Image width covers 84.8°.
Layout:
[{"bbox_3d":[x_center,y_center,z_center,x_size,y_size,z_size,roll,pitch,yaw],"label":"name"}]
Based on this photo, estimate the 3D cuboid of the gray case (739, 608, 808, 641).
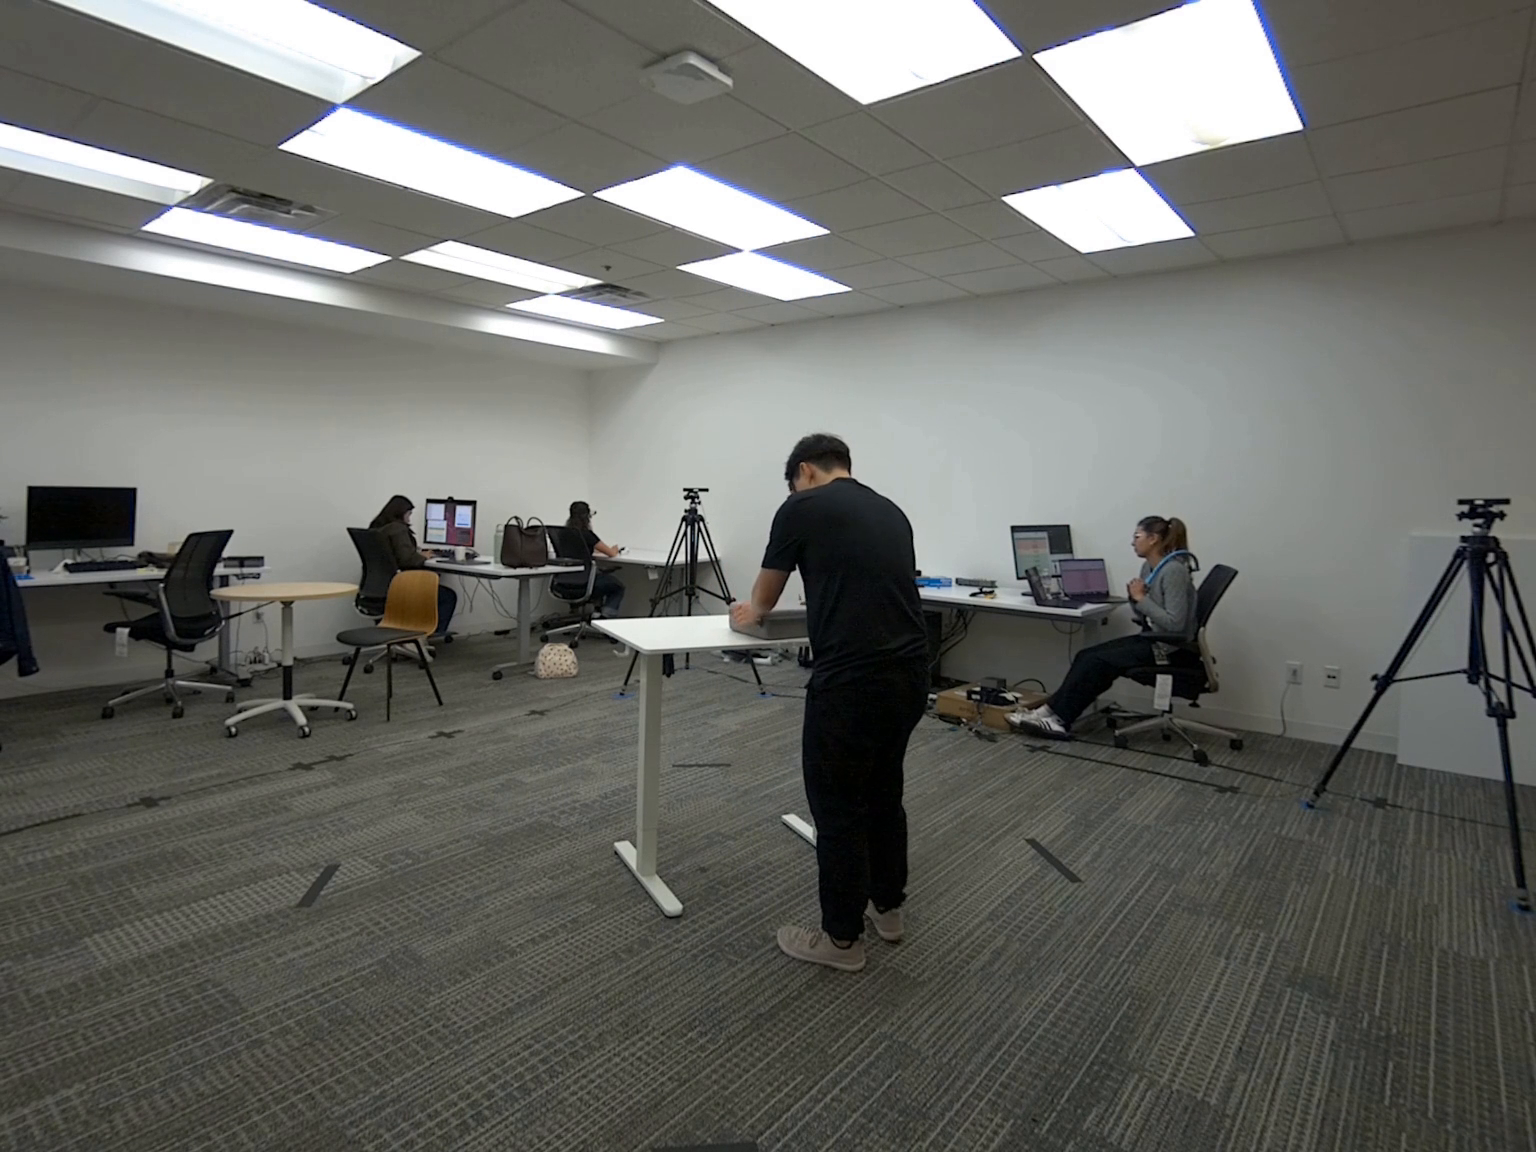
[{"bbox_3d":[0.010,0.152,3.035,0.253,0.104,0.265,-2,5,-35],"label":"gray case"}]
